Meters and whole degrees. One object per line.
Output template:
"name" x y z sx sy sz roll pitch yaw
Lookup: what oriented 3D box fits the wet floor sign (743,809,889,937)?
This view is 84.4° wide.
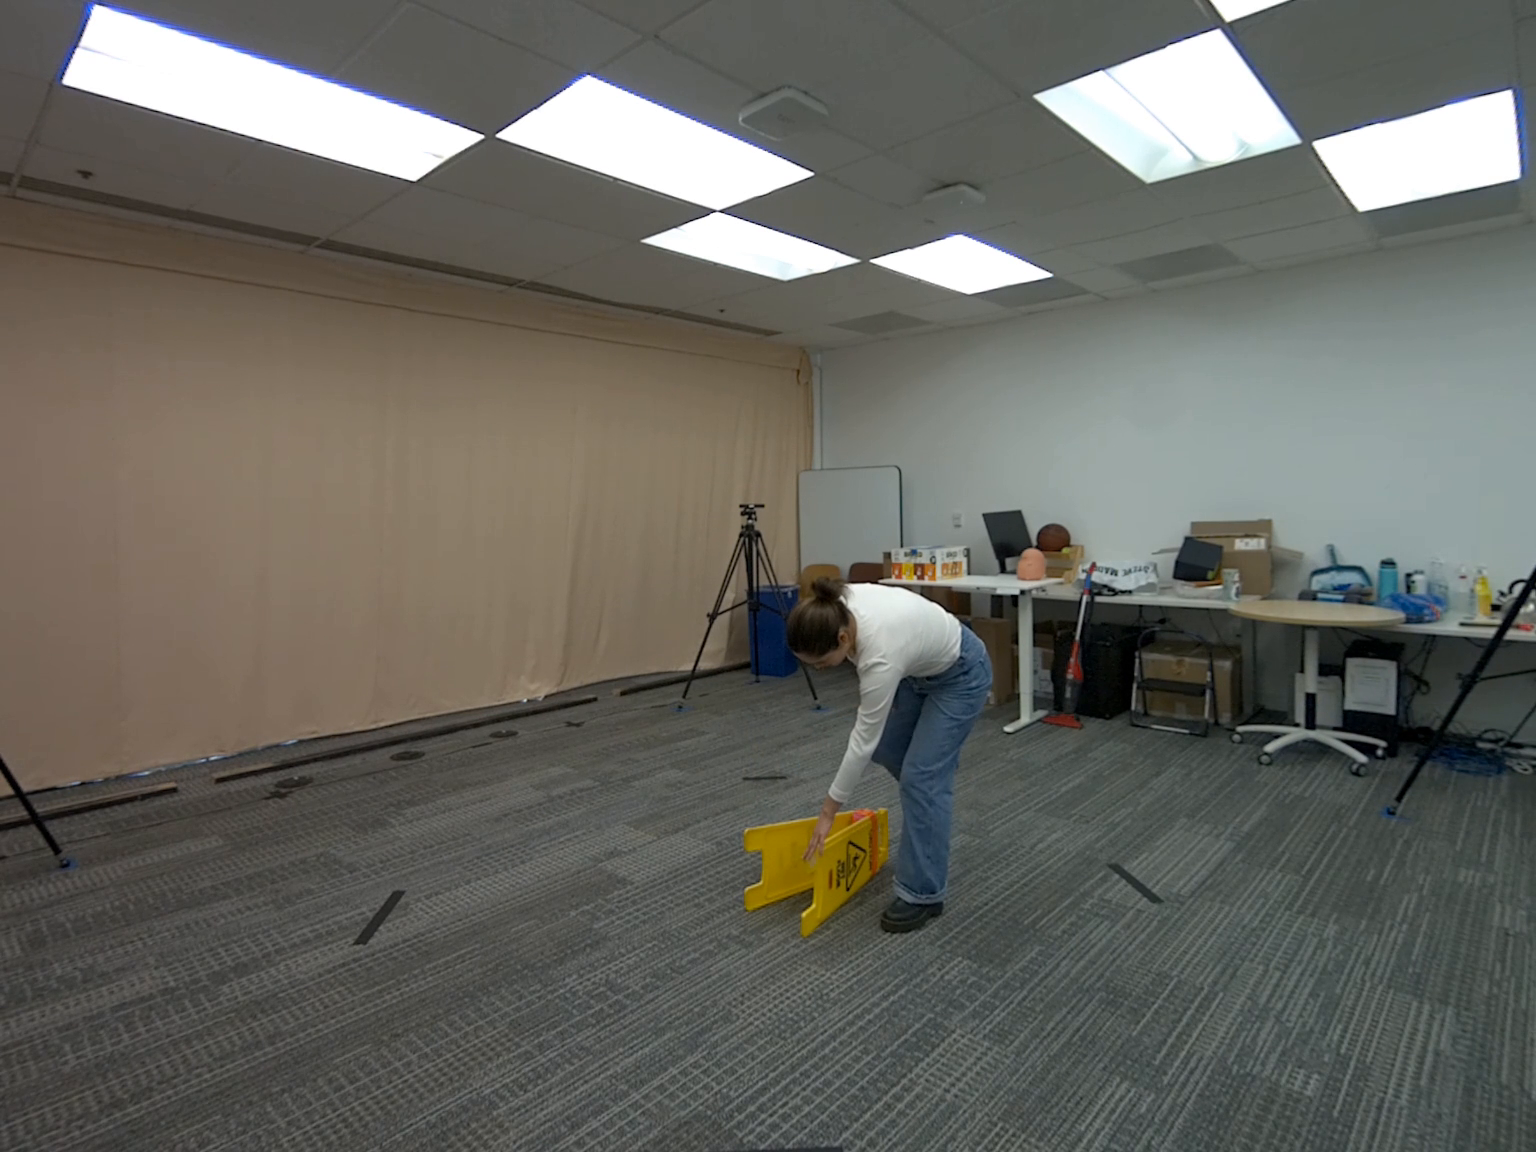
"wet floor sign" 0.238 1.003 3.013 0.299 0.282 0.626 4 5 44
